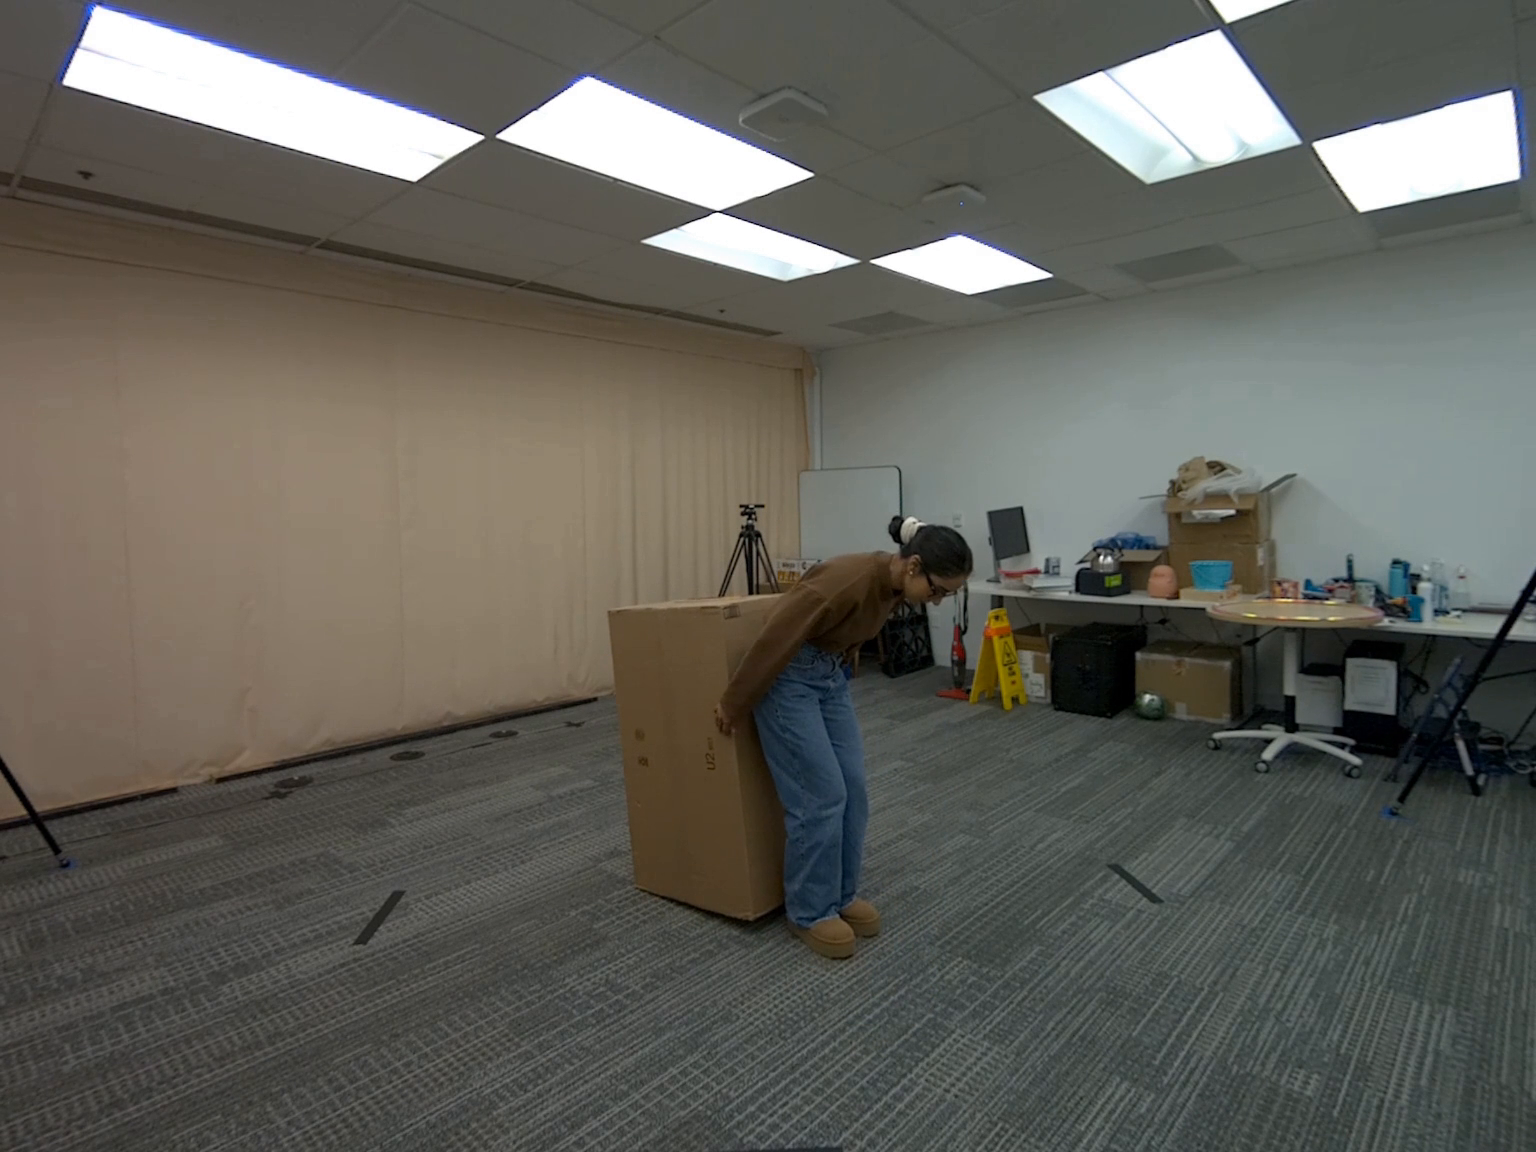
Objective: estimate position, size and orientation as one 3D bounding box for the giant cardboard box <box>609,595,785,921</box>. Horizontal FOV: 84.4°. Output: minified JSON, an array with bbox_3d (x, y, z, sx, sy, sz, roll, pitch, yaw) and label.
[{"bbox_3d":[-0.187,0.606,3.062,0.601,1.027,0.433,-6,0,40],"label":"giant cardboard box"}]
